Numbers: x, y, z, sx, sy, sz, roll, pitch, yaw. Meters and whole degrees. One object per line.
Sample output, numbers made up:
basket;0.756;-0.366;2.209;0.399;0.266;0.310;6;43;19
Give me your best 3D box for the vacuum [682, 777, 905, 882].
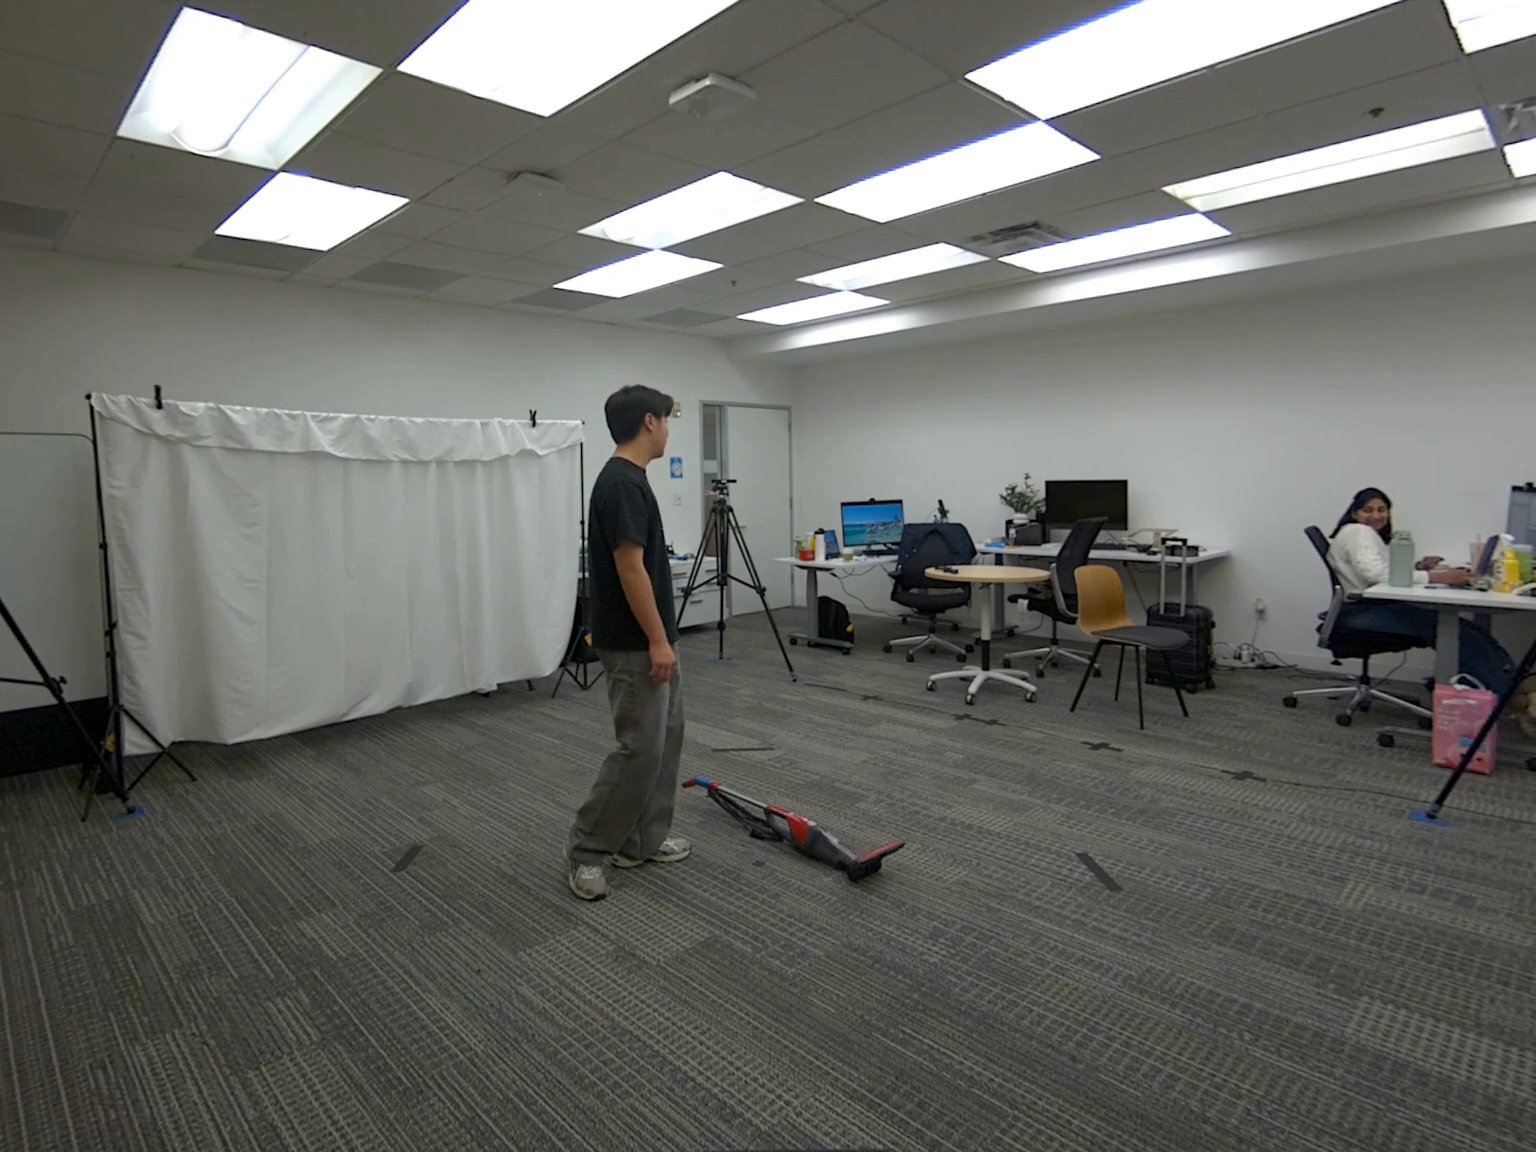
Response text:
vacuum;0.000;0.959;3.356;0.246;0.143;1.081;-7;8;-42
